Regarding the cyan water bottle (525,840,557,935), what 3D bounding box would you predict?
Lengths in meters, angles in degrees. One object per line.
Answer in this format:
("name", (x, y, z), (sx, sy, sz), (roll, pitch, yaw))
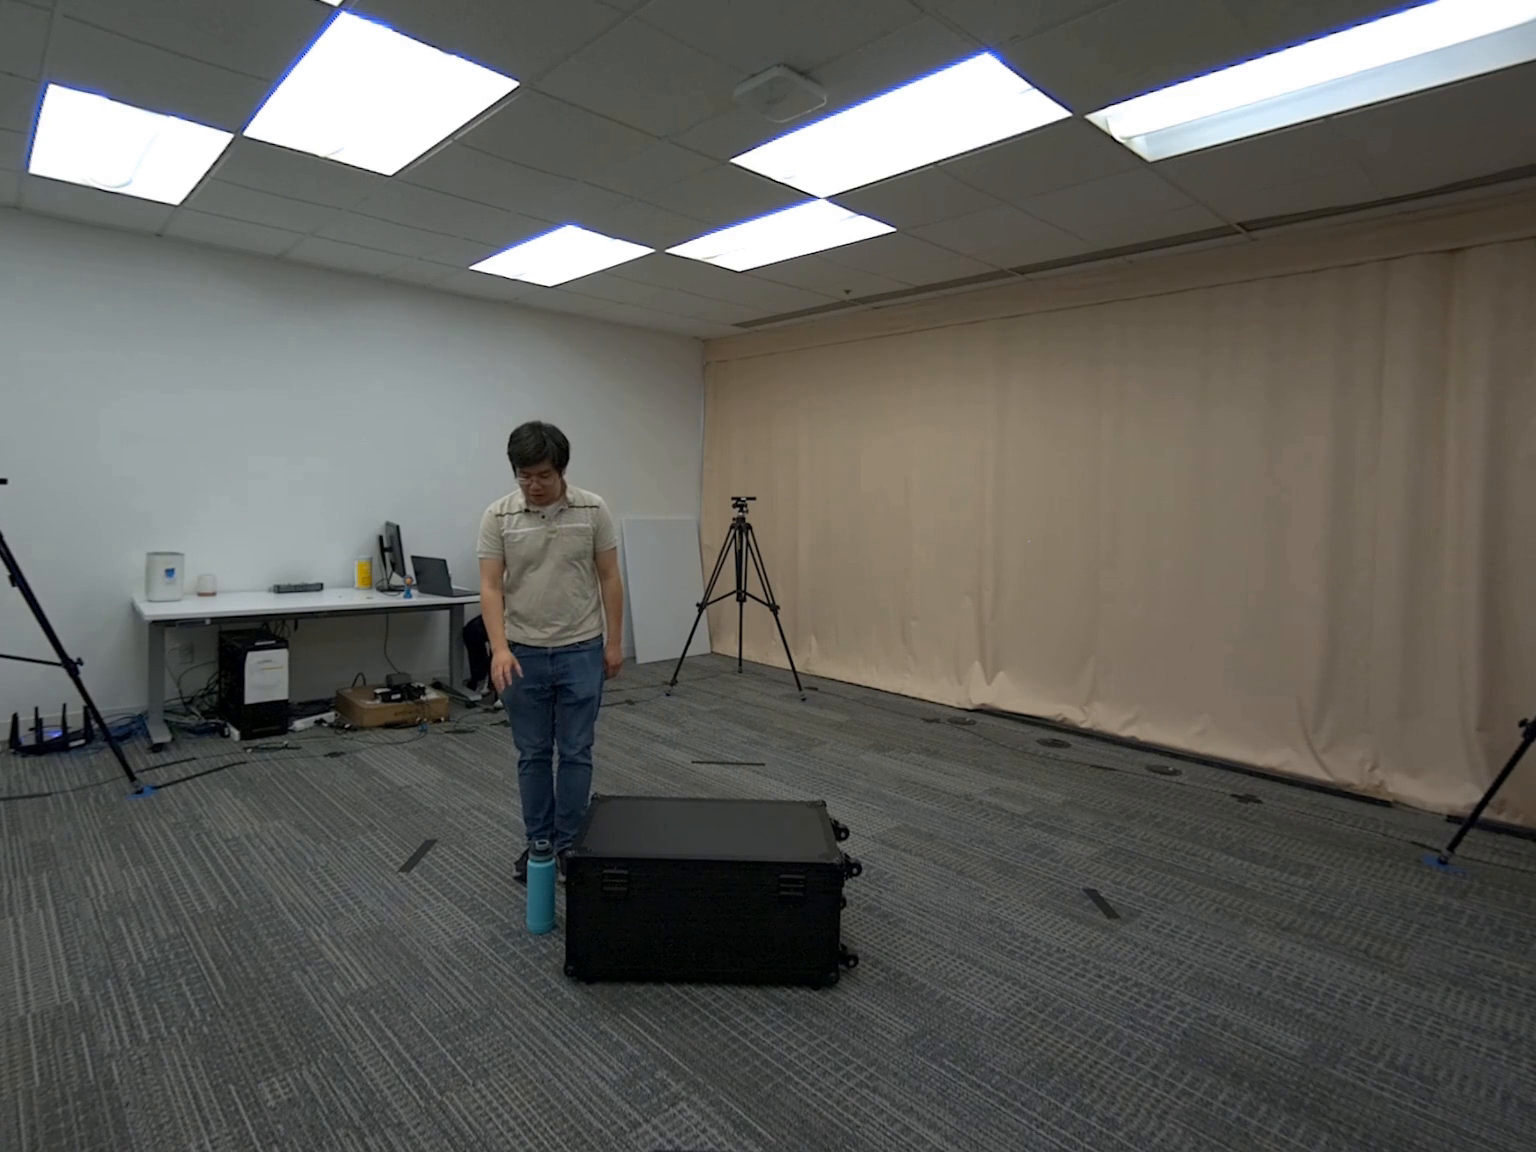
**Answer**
("cyan water bottle", (-0.723, 0.989, 2.701), (0.092, 0.282, 0.093), (2, 5, -2))
